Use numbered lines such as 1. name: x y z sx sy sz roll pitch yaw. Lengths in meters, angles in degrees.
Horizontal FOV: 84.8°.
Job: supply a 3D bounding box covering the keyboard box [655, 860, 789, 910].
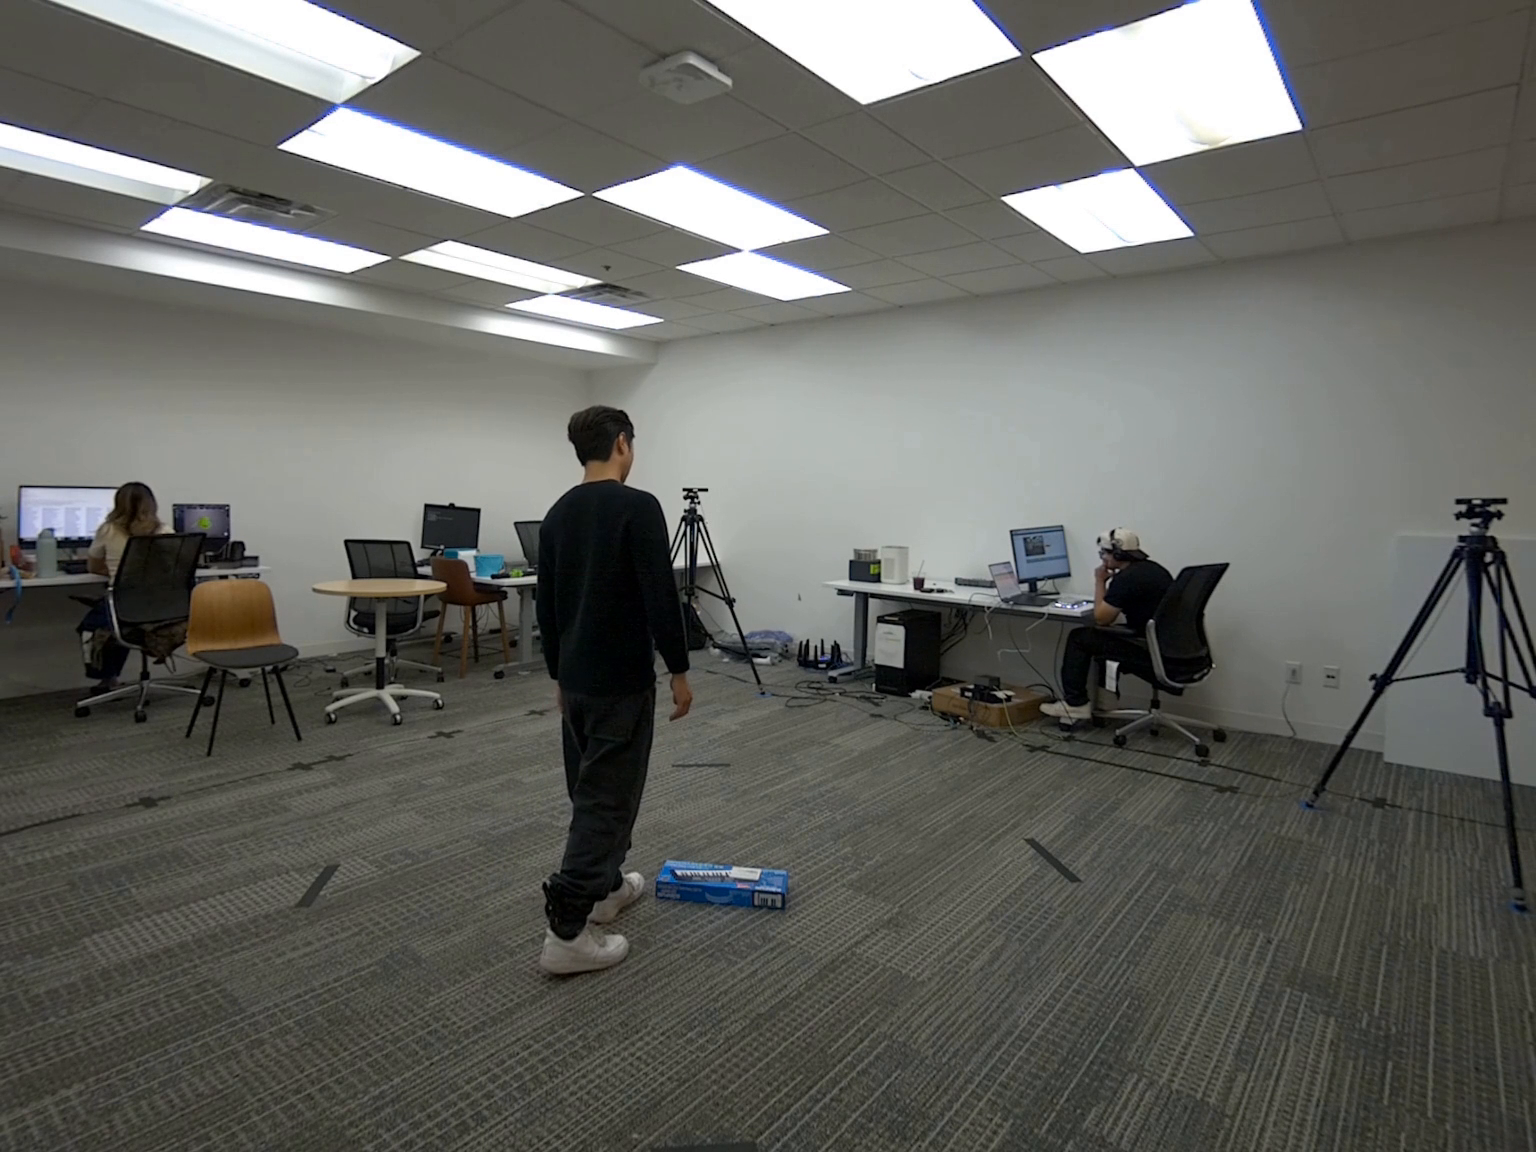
1. keyboard box: -0.167 1.056 2.930 0.441 0.059 0.175 2 5 8
